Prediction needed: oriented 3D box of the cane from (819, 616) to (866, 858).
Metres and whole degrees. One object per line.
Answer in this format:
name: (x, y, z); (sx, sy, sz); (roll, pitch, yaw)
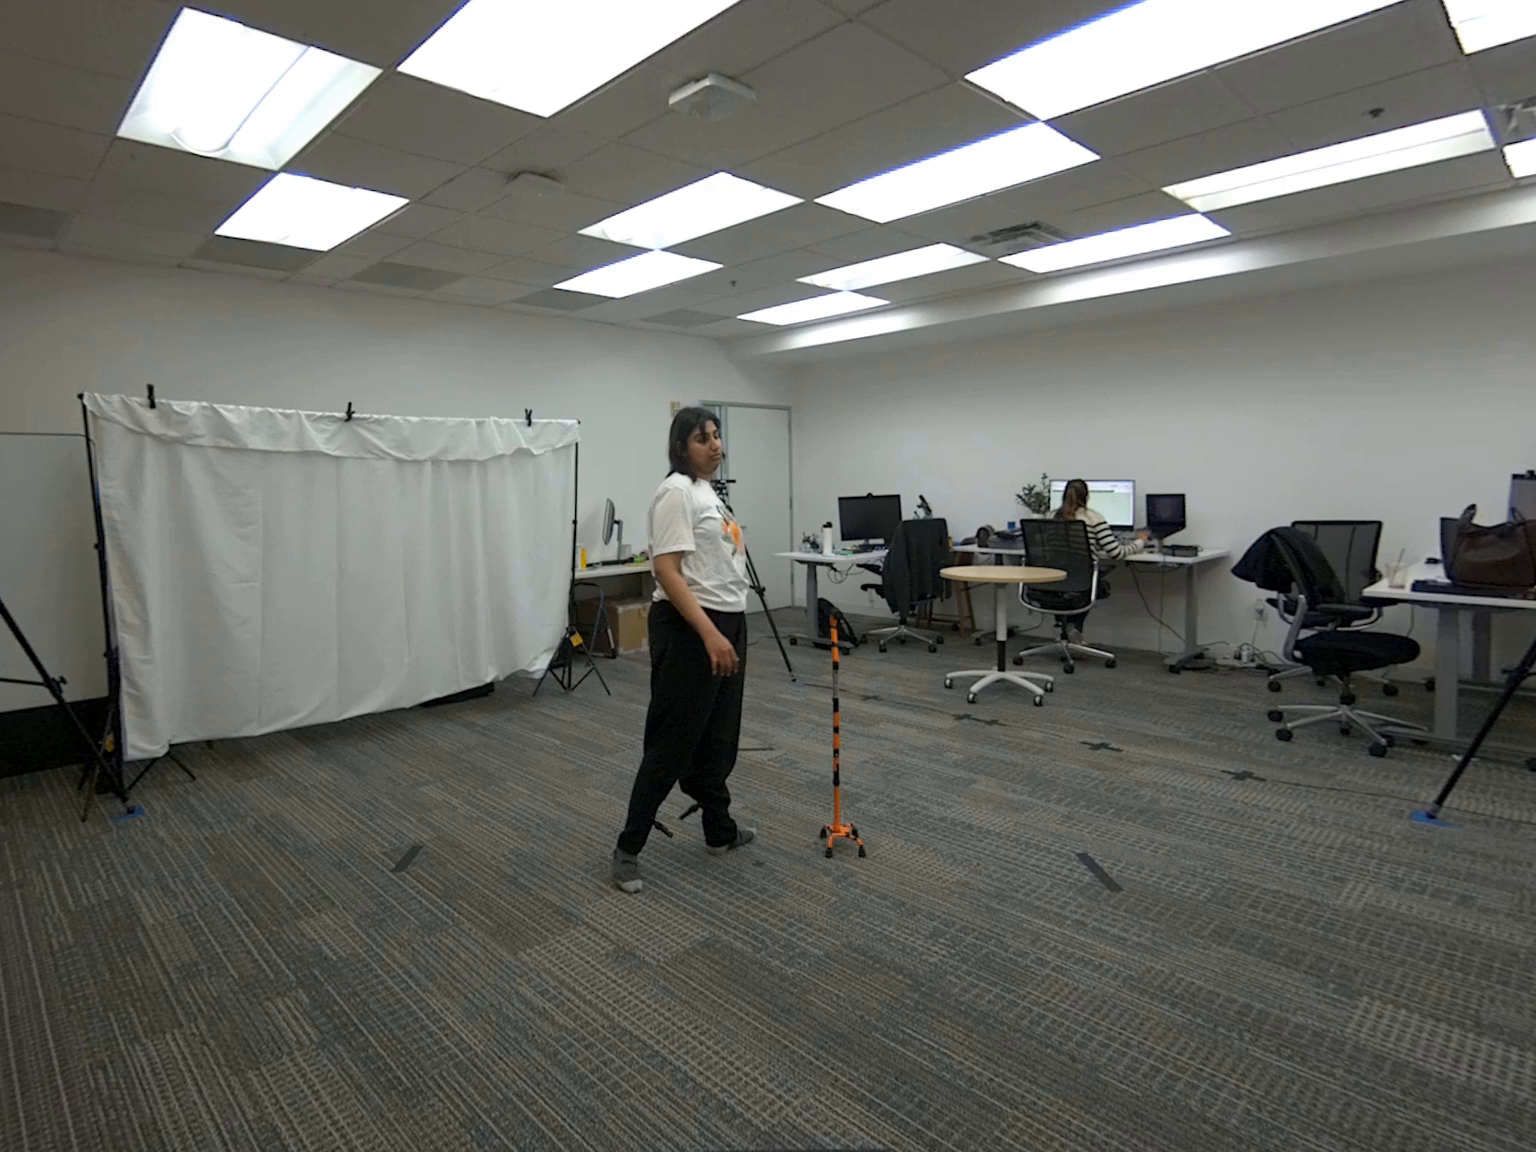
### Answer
cane: (0.267, 0.572, 3.216); (0.152, 0.904, 0.207); (-1, 4, 0)
